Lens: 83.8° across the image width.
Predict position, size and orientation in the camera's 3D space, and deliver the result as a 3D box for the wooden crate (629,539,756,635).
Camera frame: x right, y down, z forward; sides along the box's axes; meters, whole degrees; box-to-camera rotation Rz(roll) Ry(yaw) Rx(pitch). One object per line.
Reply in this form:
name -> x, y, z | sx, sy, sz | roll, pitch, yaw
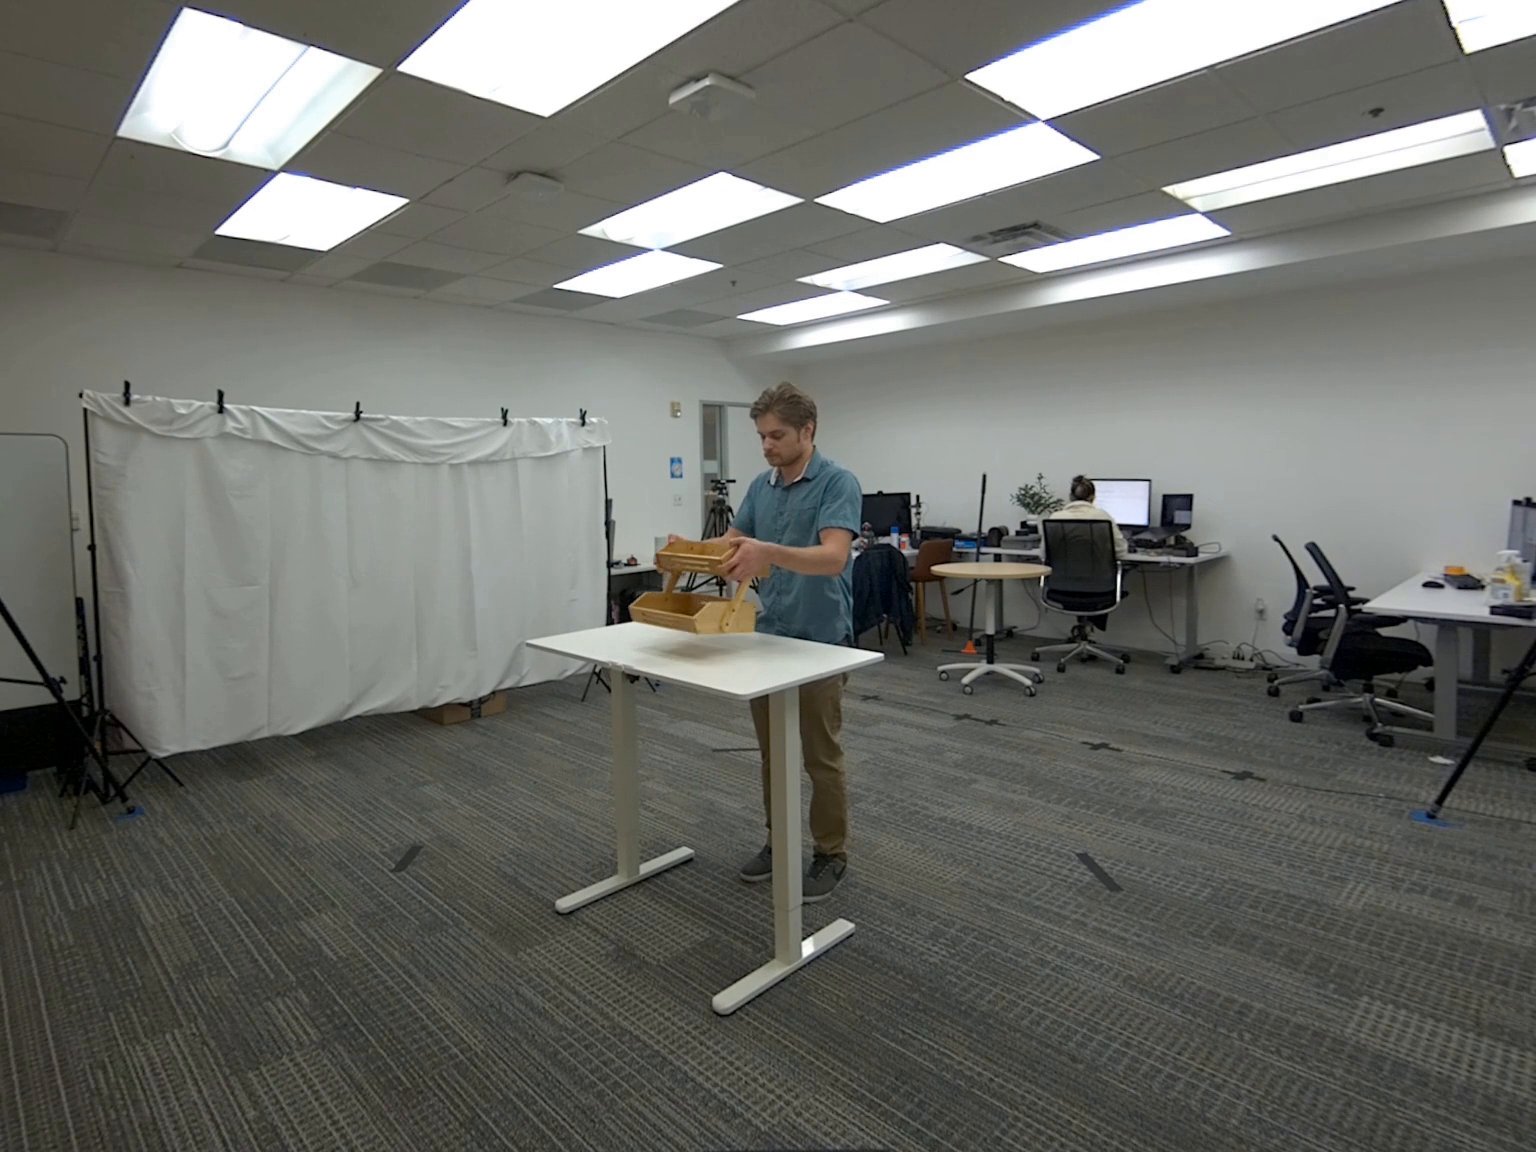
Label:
wooden crate -> -0.208, 0.026, 2.614 | 0.334, 0.273, 0.293 | 5, 1, 44
